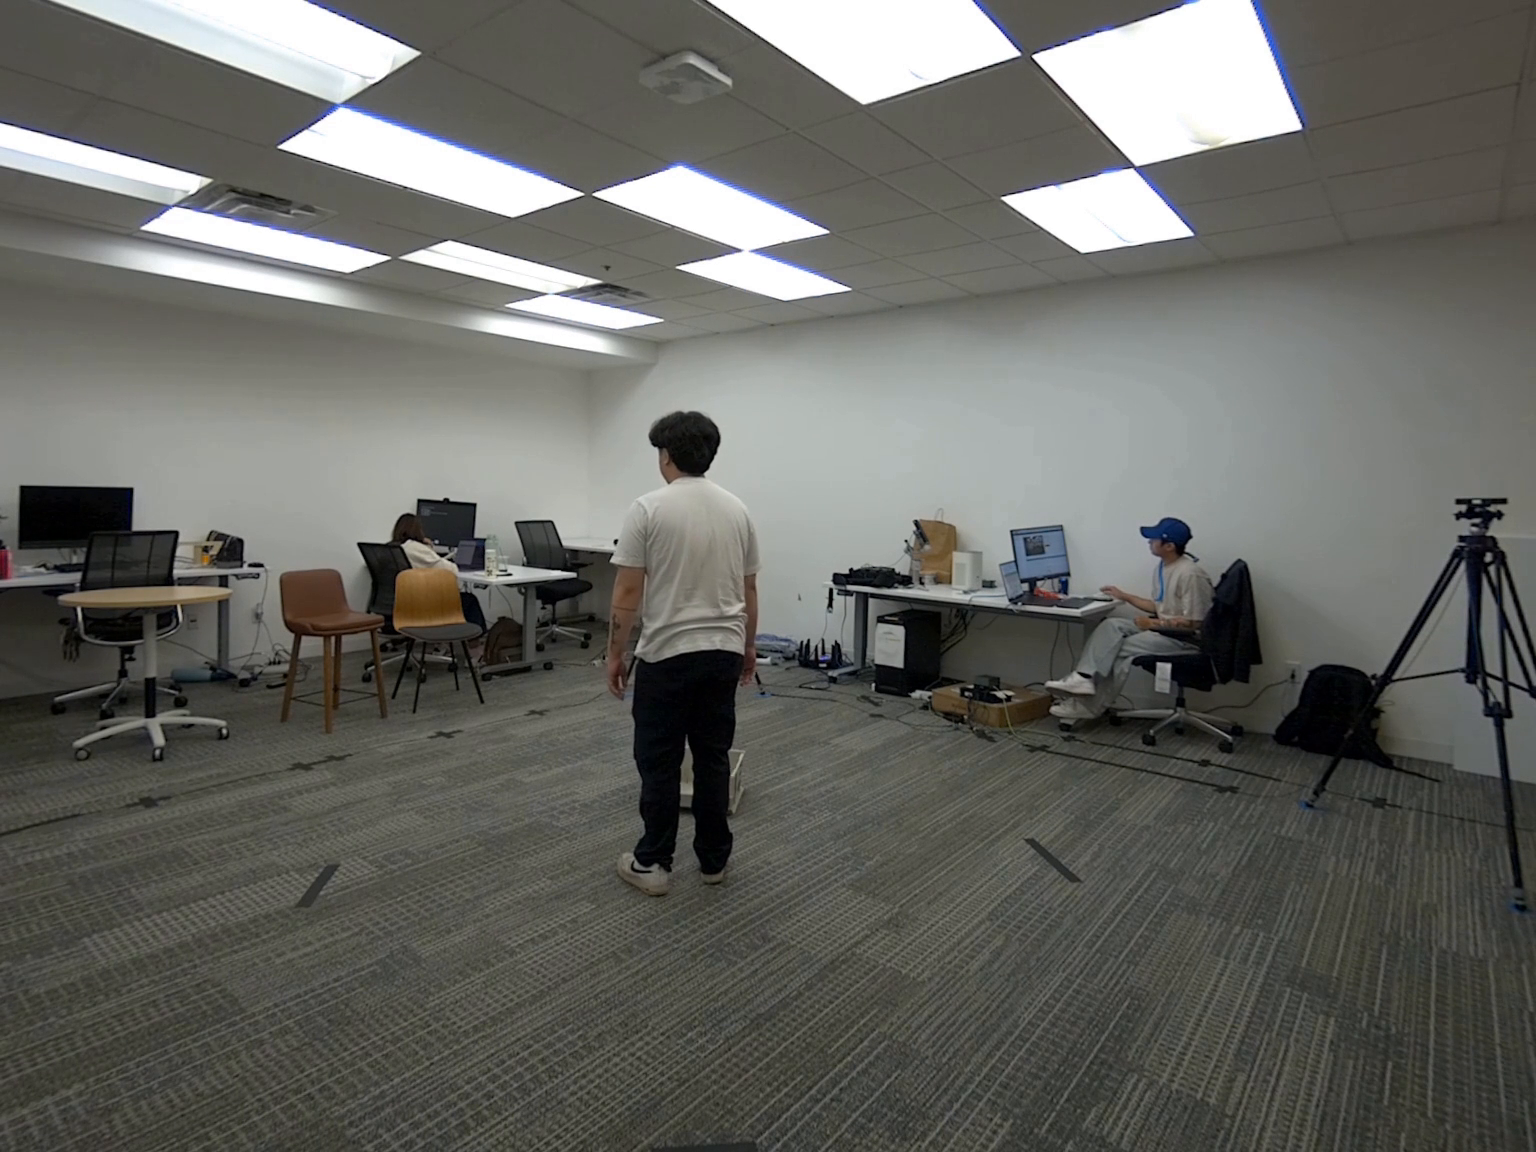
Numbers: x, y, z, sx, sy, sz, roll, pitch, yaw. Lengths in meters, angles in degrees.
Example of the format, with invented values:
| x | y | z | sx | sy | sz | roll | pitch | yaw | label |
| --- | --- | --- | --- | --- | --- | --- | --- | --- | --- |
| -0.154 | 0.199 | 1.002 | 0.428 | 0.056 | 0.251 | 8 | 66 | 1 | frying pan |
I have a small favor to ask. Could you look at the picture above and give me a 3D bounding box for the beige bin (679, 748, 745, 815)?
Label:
| x | y | z | sx | sy | sz | roll | pitch | yaw | label |
| --- | --- | --- | --- | --- | --- | --- | --- | --- | --- |
| -0.342 | 0.909 | 3.811 | 0.426 | 0.188 | 0.375 | 1 | 4 | 8 | beige bin |
